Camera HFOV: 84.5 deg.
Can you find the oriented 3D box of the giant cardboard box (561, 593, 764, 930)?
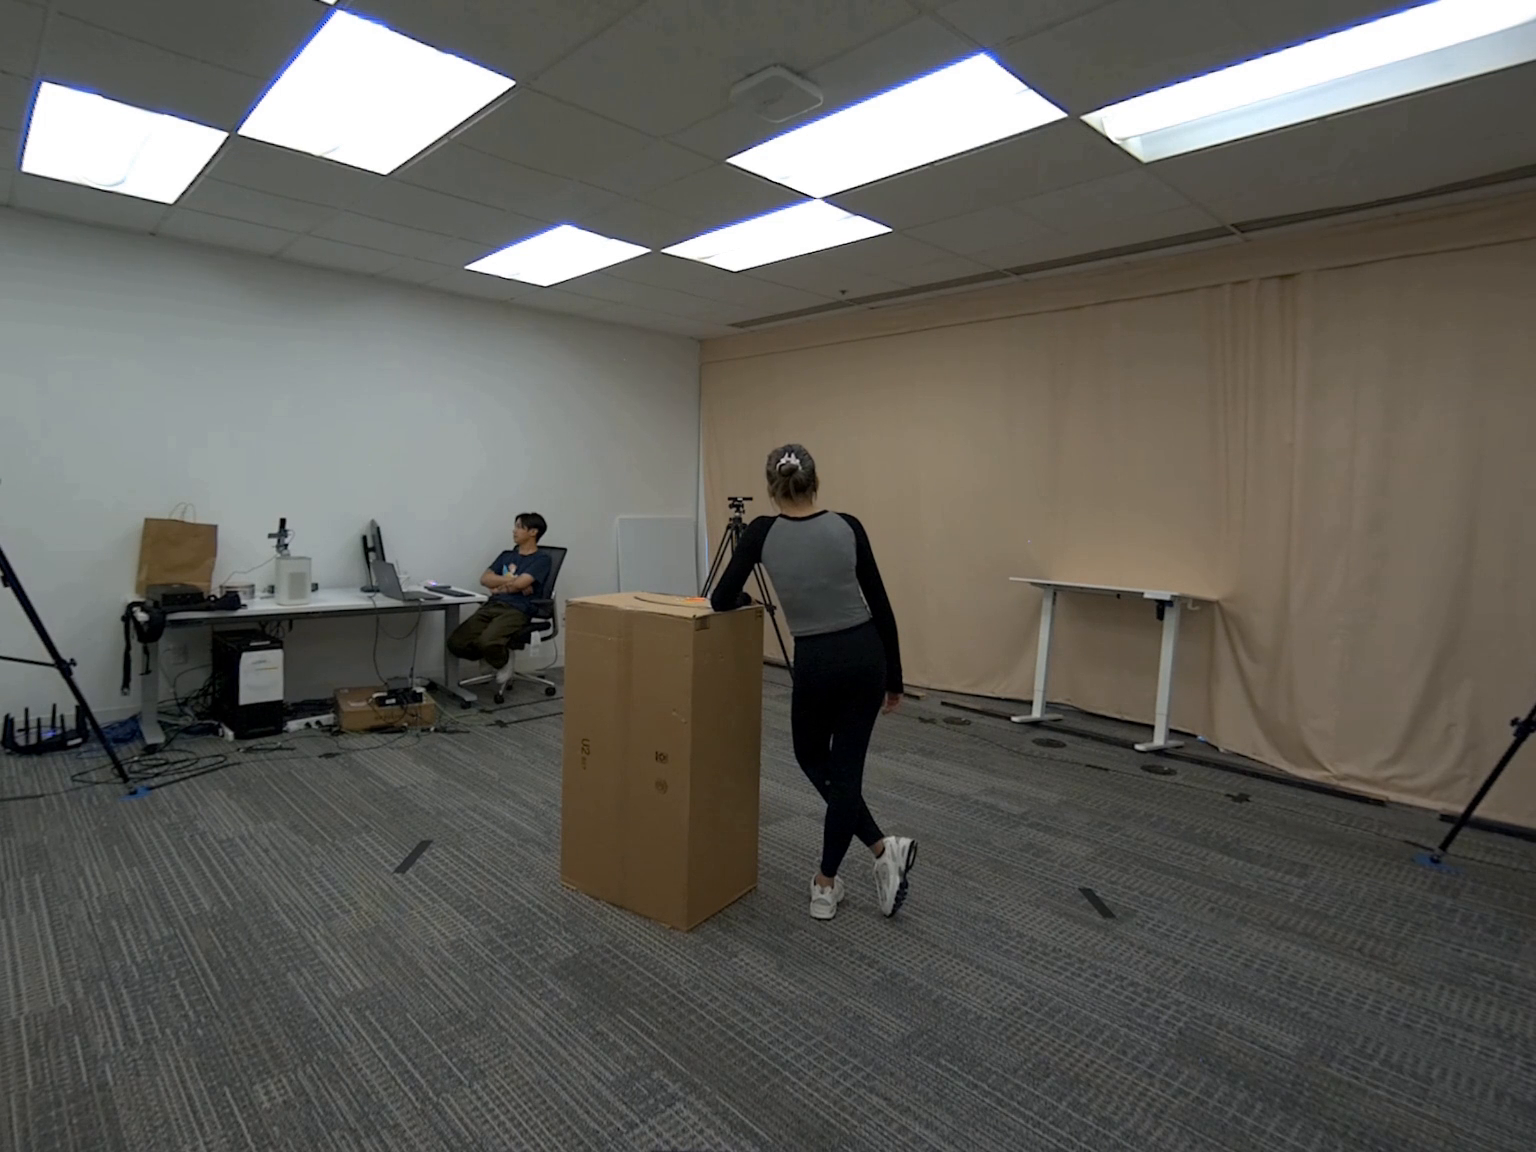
[{"bbox_3d":[-0.384,0.603,2.999,0.591,1.023,0.417,4,4,34],"label":"giant cardboard box"}]
